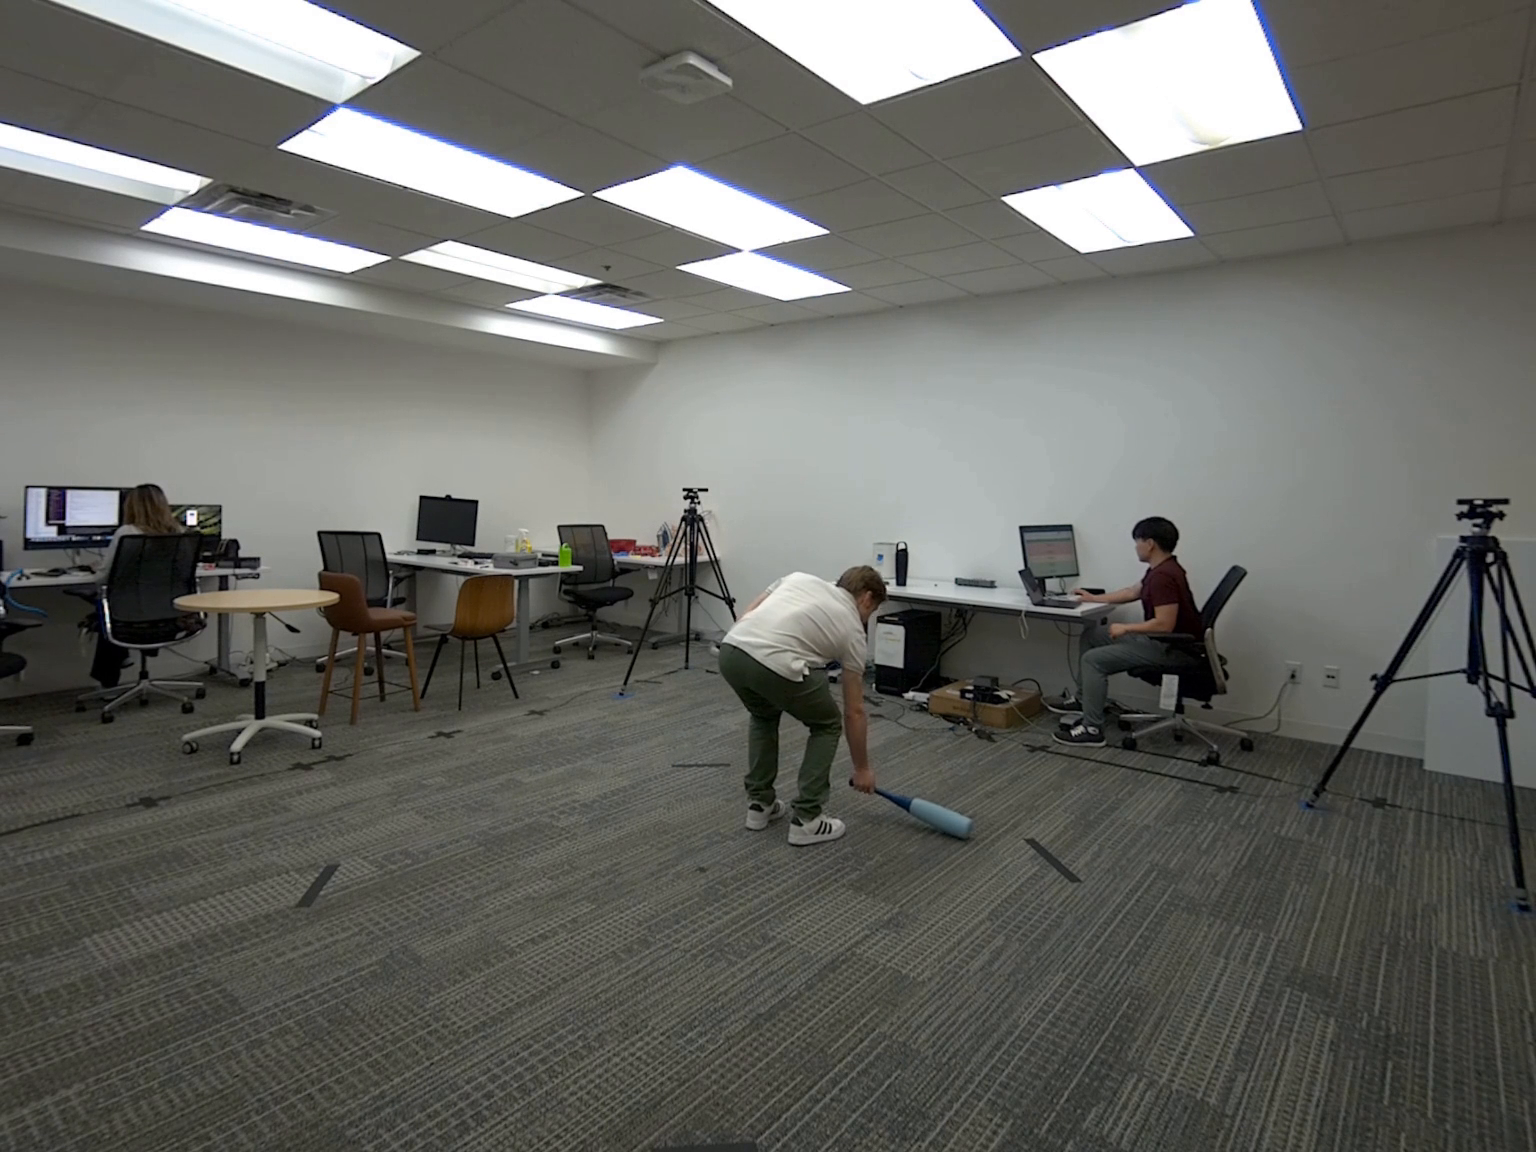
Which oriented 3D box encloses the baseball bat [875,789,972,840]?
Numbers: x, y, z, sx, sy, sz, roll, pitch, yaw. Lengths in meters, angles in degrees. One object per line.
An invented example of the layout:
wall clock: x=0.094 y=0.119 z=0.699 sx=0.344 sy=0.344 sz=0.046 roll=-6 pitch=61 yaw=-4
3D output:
baseball bat: x=0.584 y=0.960 z=3.580 sx=0.562 sy=0.088 sz=0.086 roll=14 pitch=11 yaw=33
